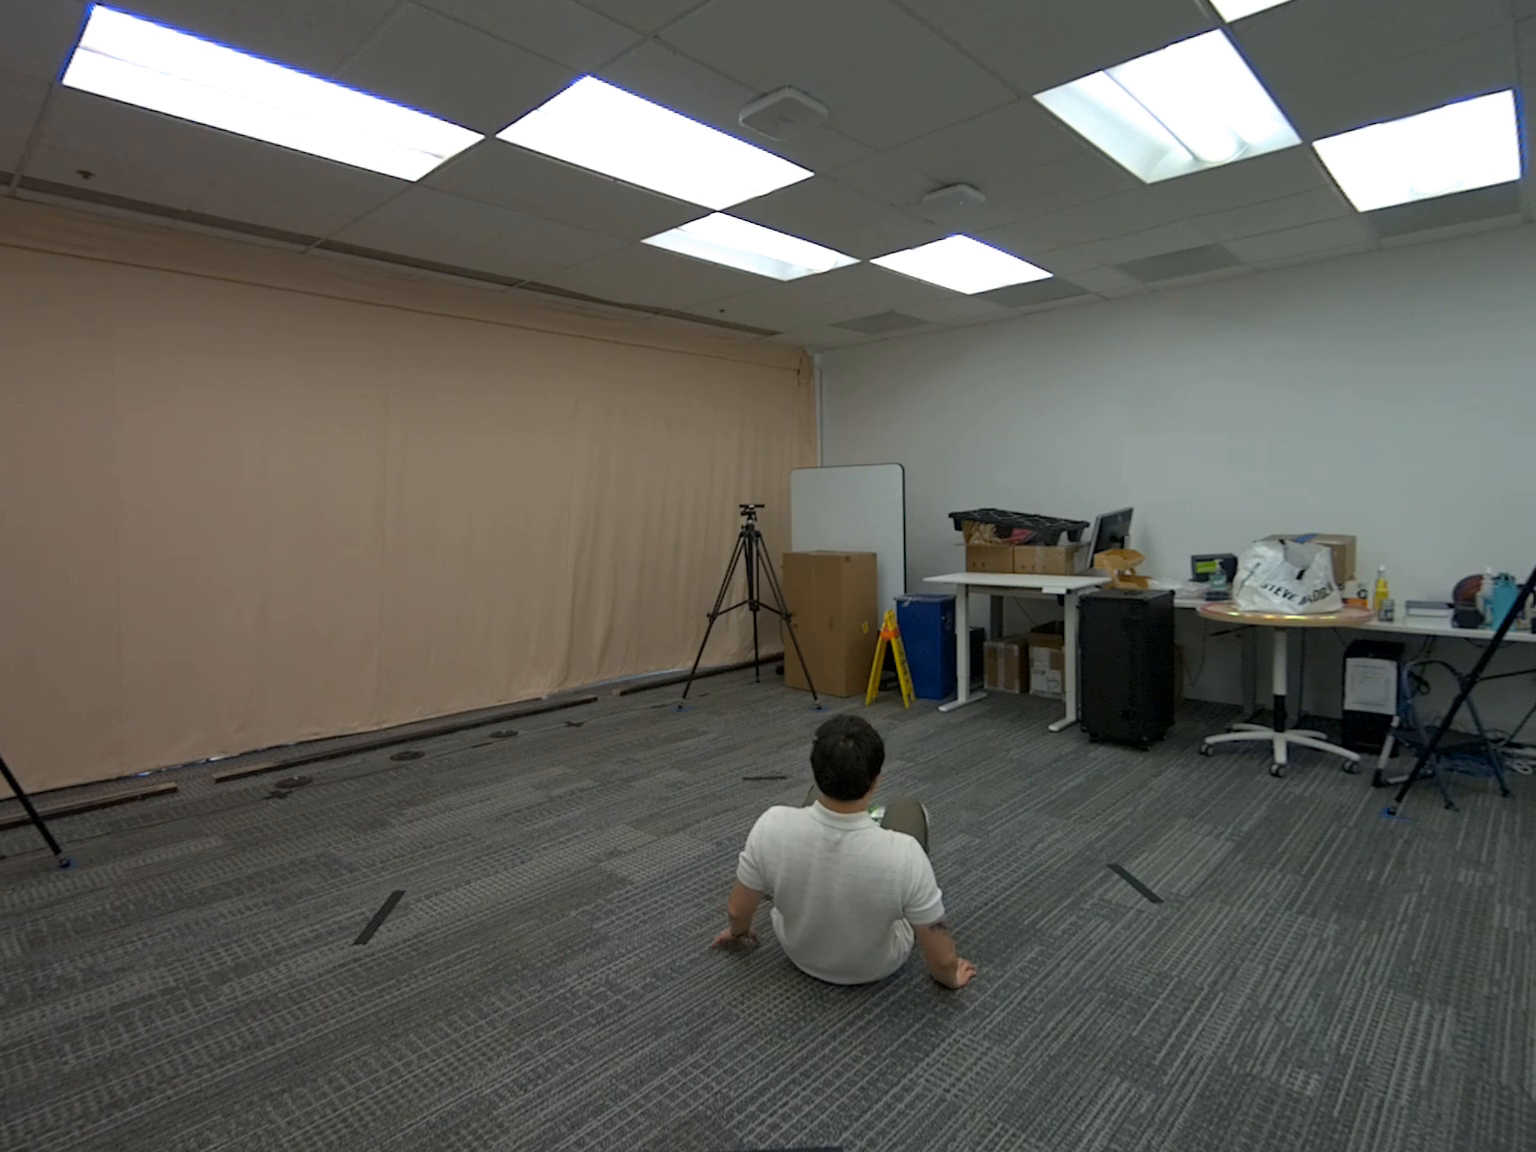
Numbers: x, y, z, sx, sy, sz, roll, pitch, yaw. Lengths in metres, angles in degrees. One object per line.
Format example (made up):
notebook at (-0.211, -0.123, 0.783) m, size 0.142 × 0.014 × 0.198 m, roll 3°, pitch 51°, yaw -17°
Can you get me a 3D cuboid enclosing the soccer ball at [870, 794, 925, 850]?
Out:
soccer ball at (0.433, 0.941, 3.128) m, size 0.187 × 0.187 × 0.188 m, roll -1°, pitch 4°, yaw -2°
